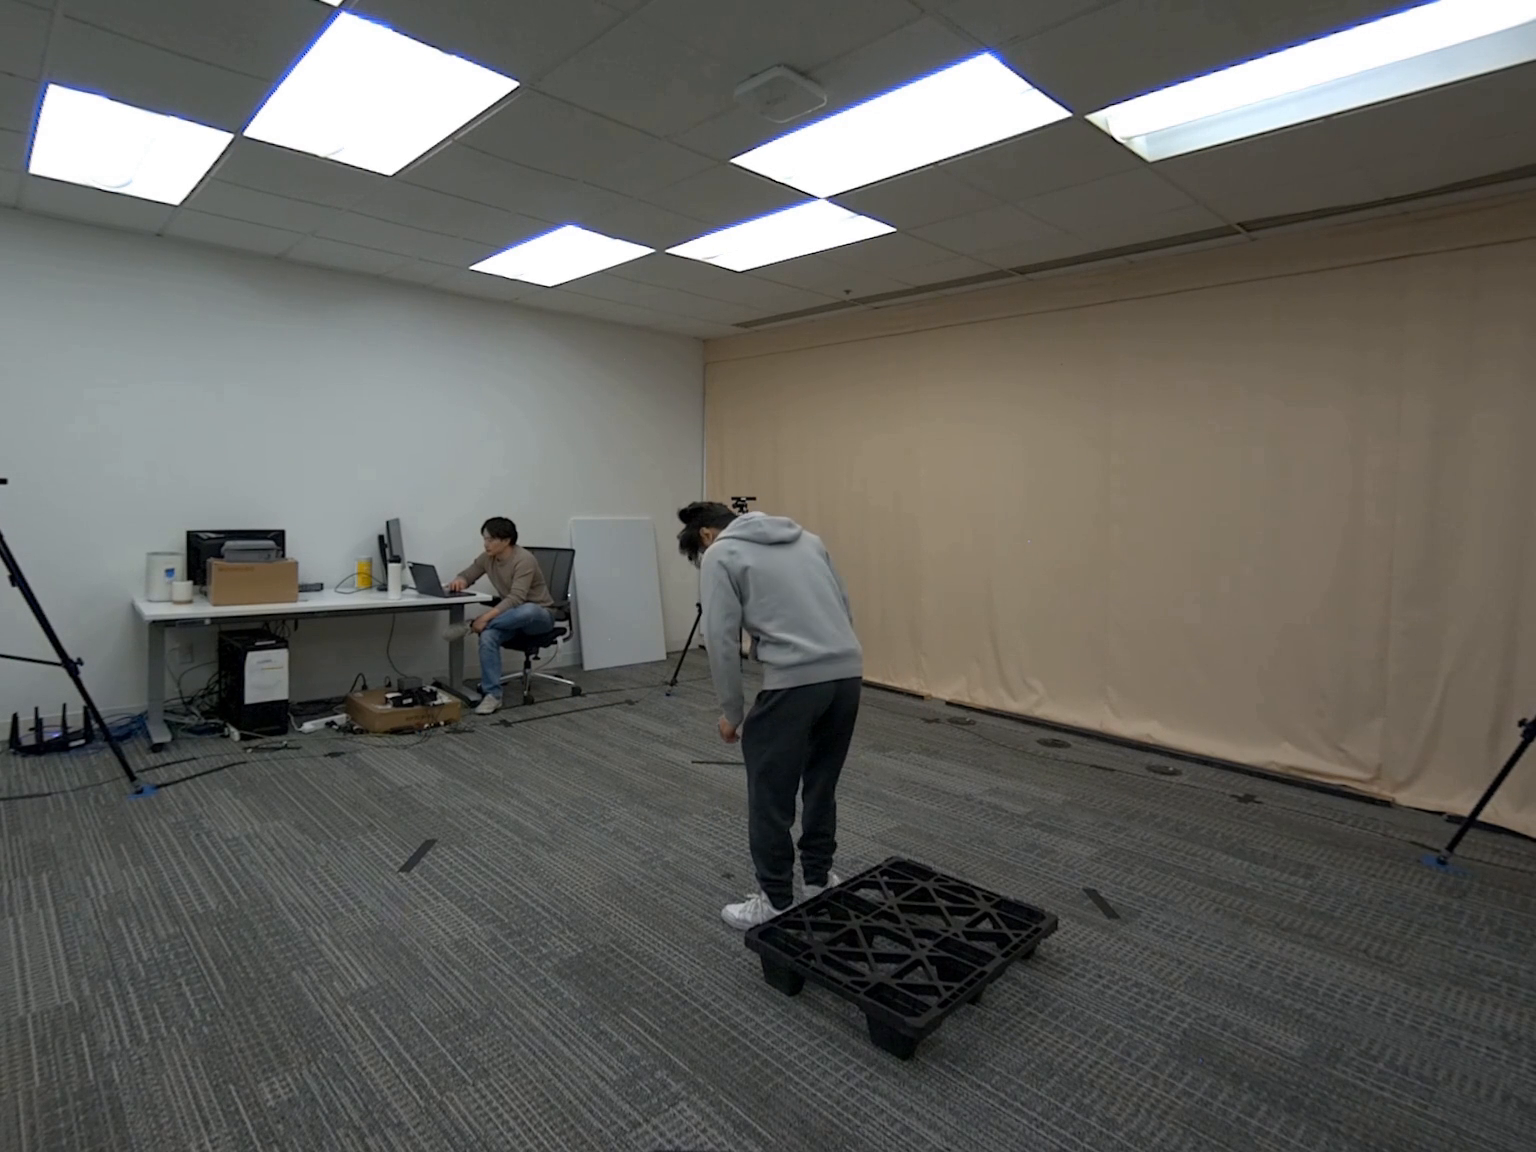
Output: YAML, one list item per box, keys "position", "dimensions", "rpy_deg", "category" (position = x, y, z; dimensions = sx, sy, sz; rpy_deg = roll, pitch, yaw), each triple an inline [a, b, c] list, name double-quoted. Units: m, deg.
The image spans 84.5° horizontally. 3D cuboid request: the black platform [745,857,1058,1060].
- position: [0.395, 1.105, 2.521]
  dimensions: [0.621, 0.143, 0.787]
  rpy_deg: [6, 7, 43]
  category: "black platform"
